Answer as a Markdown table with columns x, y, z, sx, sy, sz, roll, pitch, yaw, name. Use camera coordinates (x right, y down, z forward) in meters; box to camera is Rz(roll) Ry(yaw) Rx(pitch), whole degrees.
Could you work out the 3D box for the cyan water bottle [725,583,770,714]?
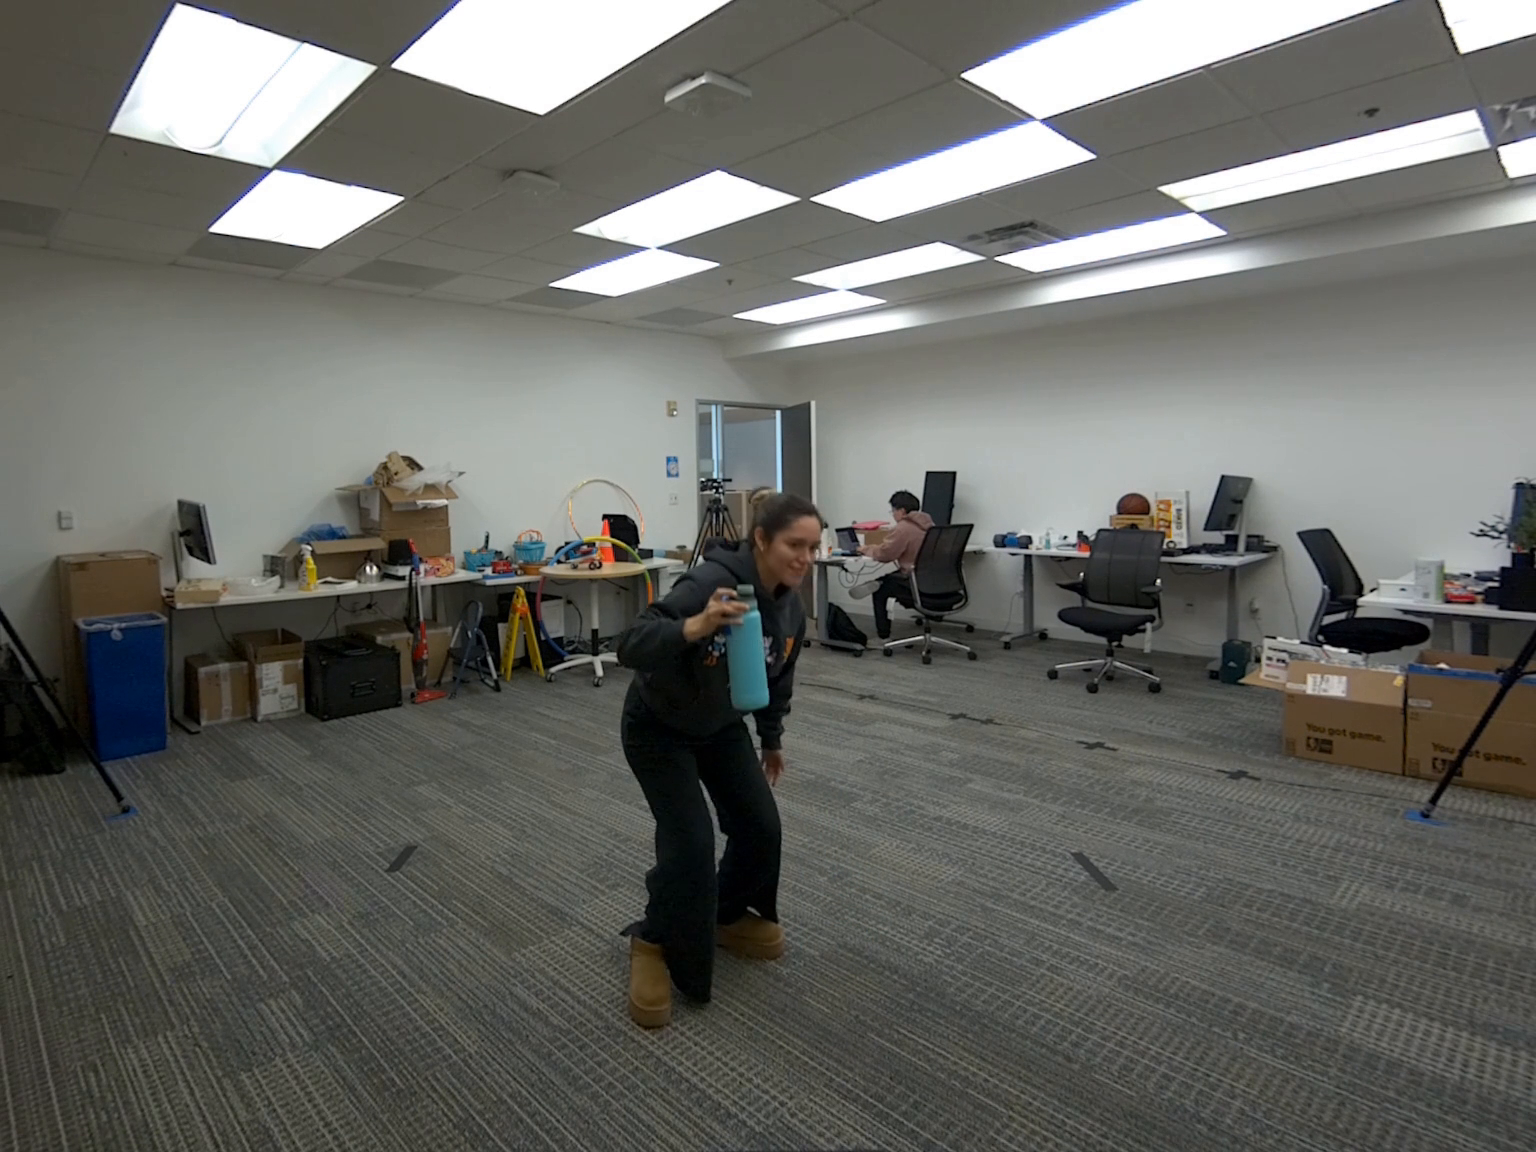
| x | y | z | sx | sy | sz | roll | pitch | yaw | name |
| --- | --- | --- | --- | --- | --- | --- | --- | --- | --- |
| -0.066 | 0.170 | 2.030 | 0.092 | 0.282 | 0.093 | -5 | 6 | -1 | cyan water bottle |
